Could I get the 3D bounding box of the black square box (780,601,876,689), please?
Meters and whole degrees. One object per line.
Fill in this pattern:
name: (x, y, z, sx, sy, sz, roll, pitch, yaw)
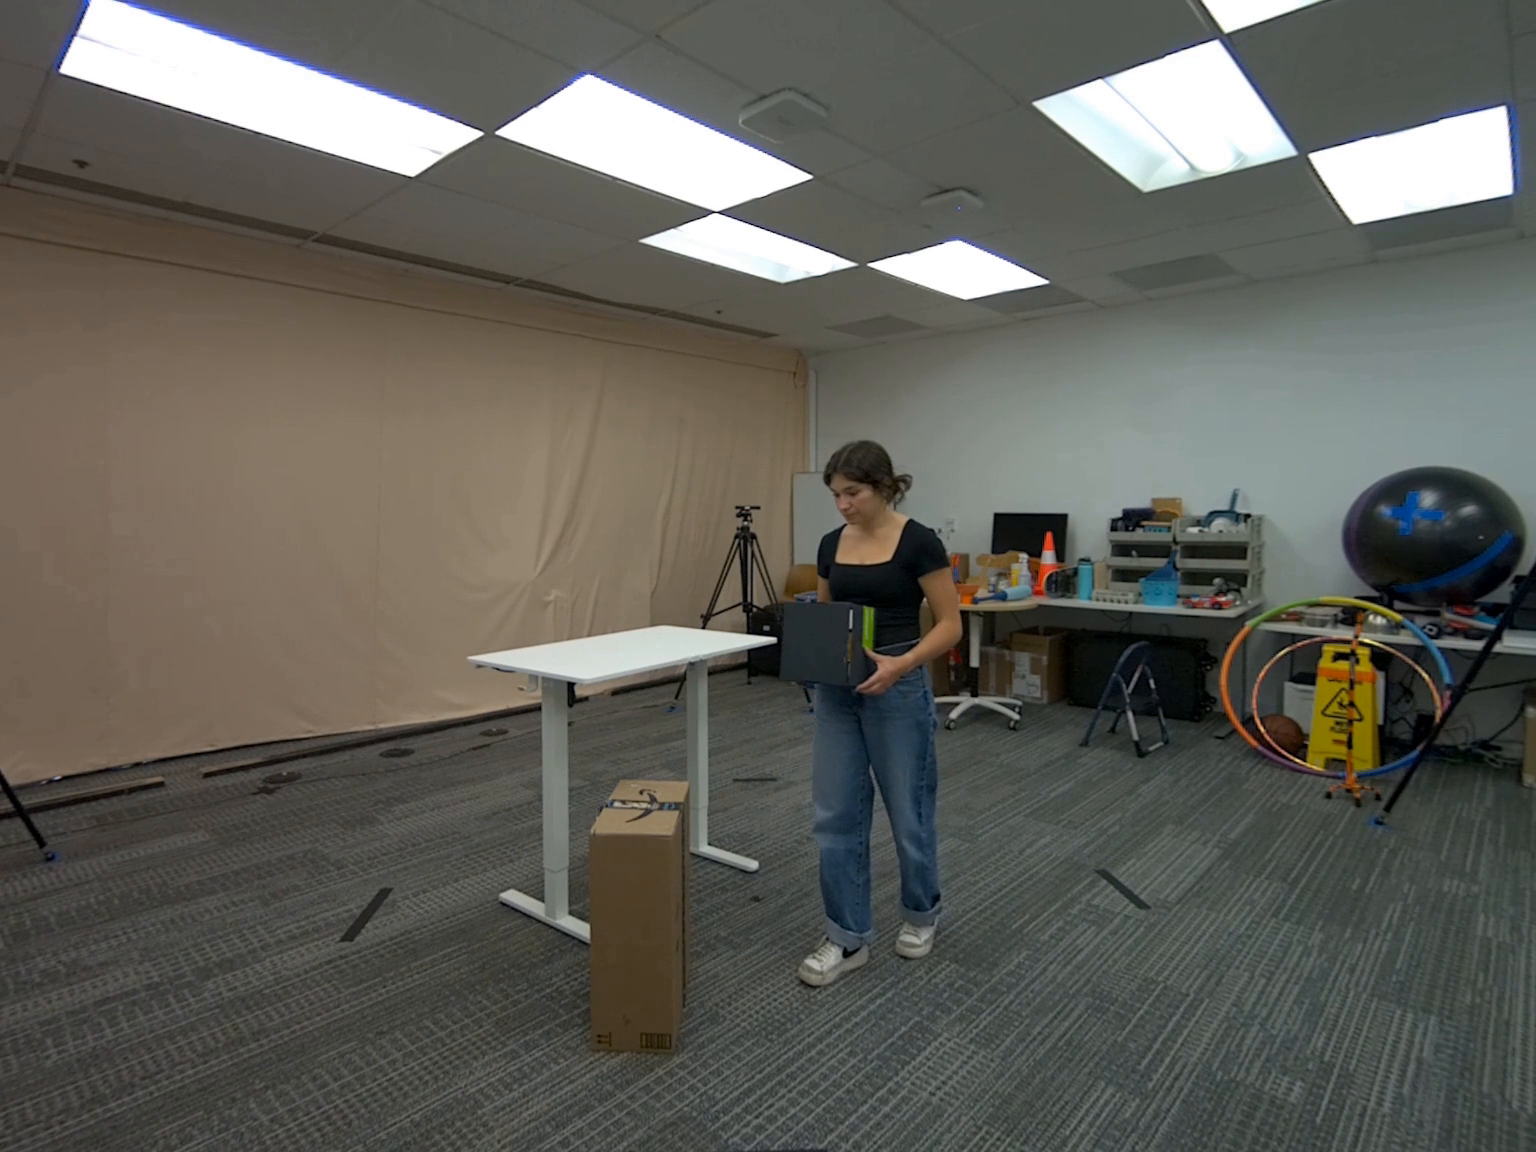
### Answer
black square box: (0.175, 0.189, 2.389, 0.223, 0.228, 0.151, -2, -6, 36)
